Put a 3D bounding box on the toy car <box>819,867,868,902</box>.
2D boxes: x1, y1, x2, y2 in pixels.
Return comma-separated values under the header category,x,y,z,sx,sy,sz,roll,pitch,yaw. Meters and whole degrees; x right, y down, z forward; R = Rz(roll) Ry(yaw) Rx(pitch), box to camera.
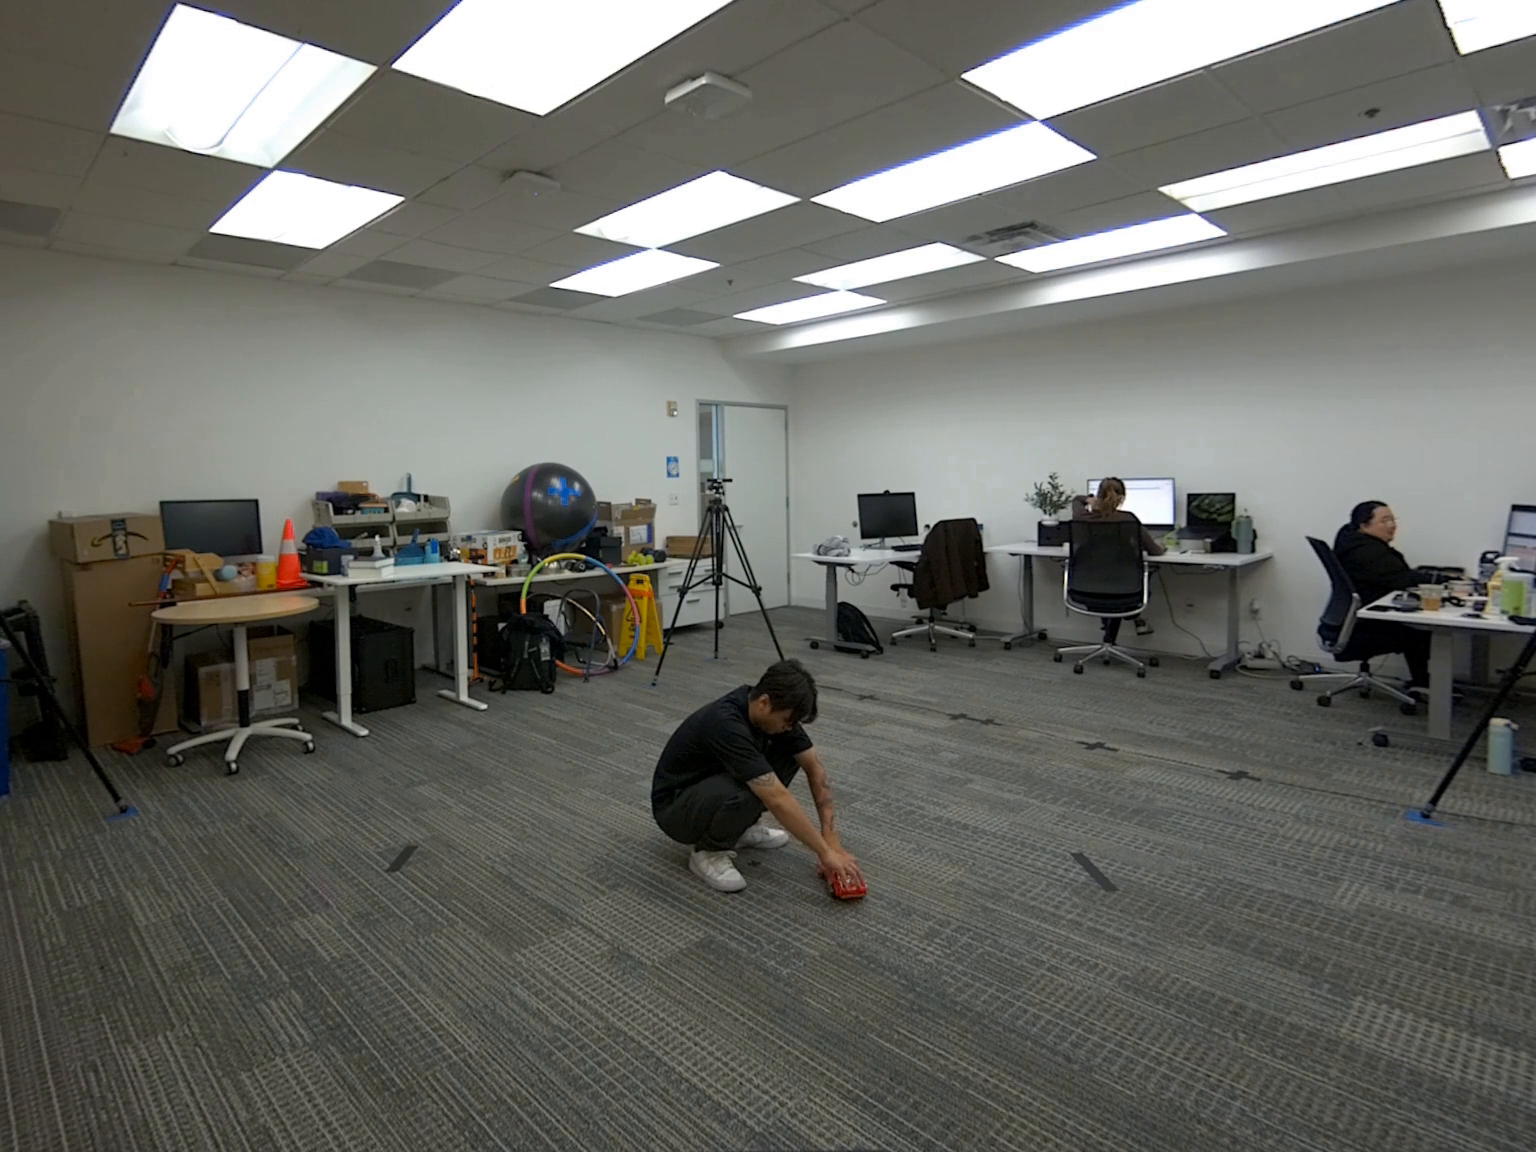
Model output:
category,x,y,z,sx,sy,sz,roll,pitch,yaw
toy car,0.256,1.030,2.895,0.129,0.084,0.255,-1,-5,-10
